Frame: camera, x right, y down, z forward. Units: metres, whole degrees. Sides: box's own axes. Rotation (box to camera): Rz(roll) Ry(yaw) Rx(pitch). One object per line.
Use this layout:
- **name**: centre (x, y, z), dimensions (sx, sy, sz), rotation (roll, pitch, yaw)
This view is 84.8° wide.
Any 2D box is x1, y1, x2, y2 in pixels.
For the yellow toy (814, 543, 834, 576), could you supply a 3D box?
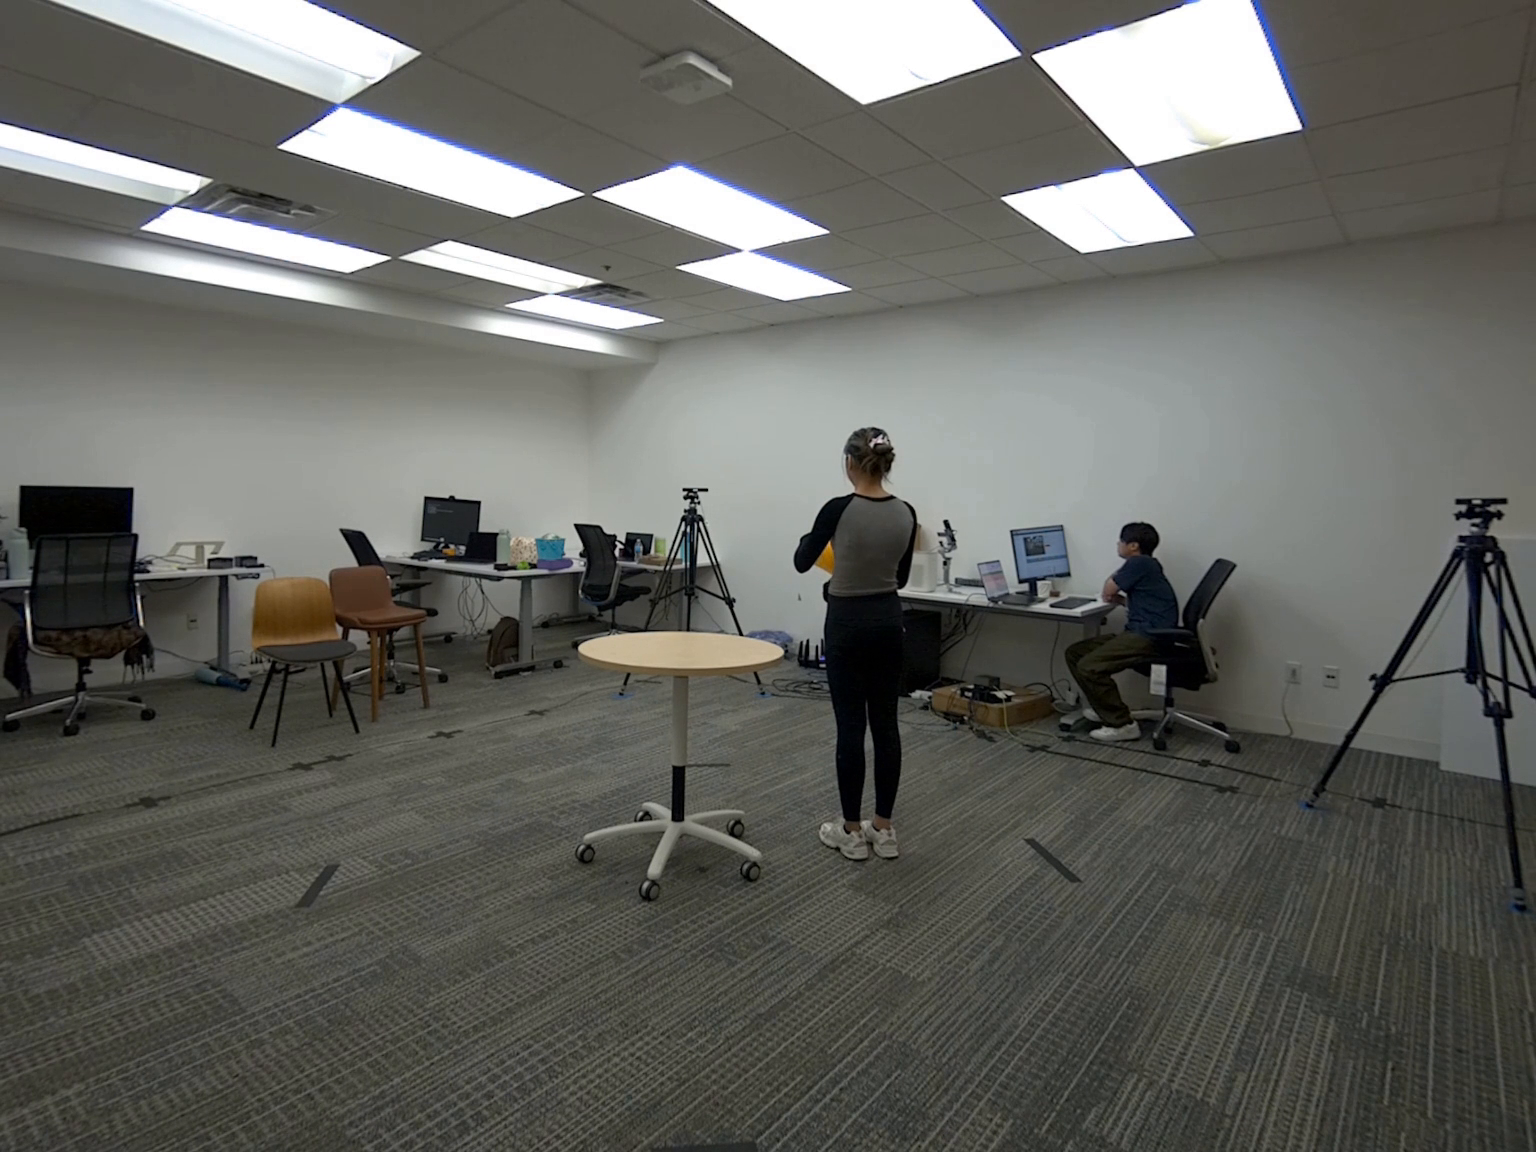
- **yellow toy**: centre (0.266, -0.127, 3.685), dimensions (0.237, 0.198, 0.194), rotation (-4, 43, 45)
